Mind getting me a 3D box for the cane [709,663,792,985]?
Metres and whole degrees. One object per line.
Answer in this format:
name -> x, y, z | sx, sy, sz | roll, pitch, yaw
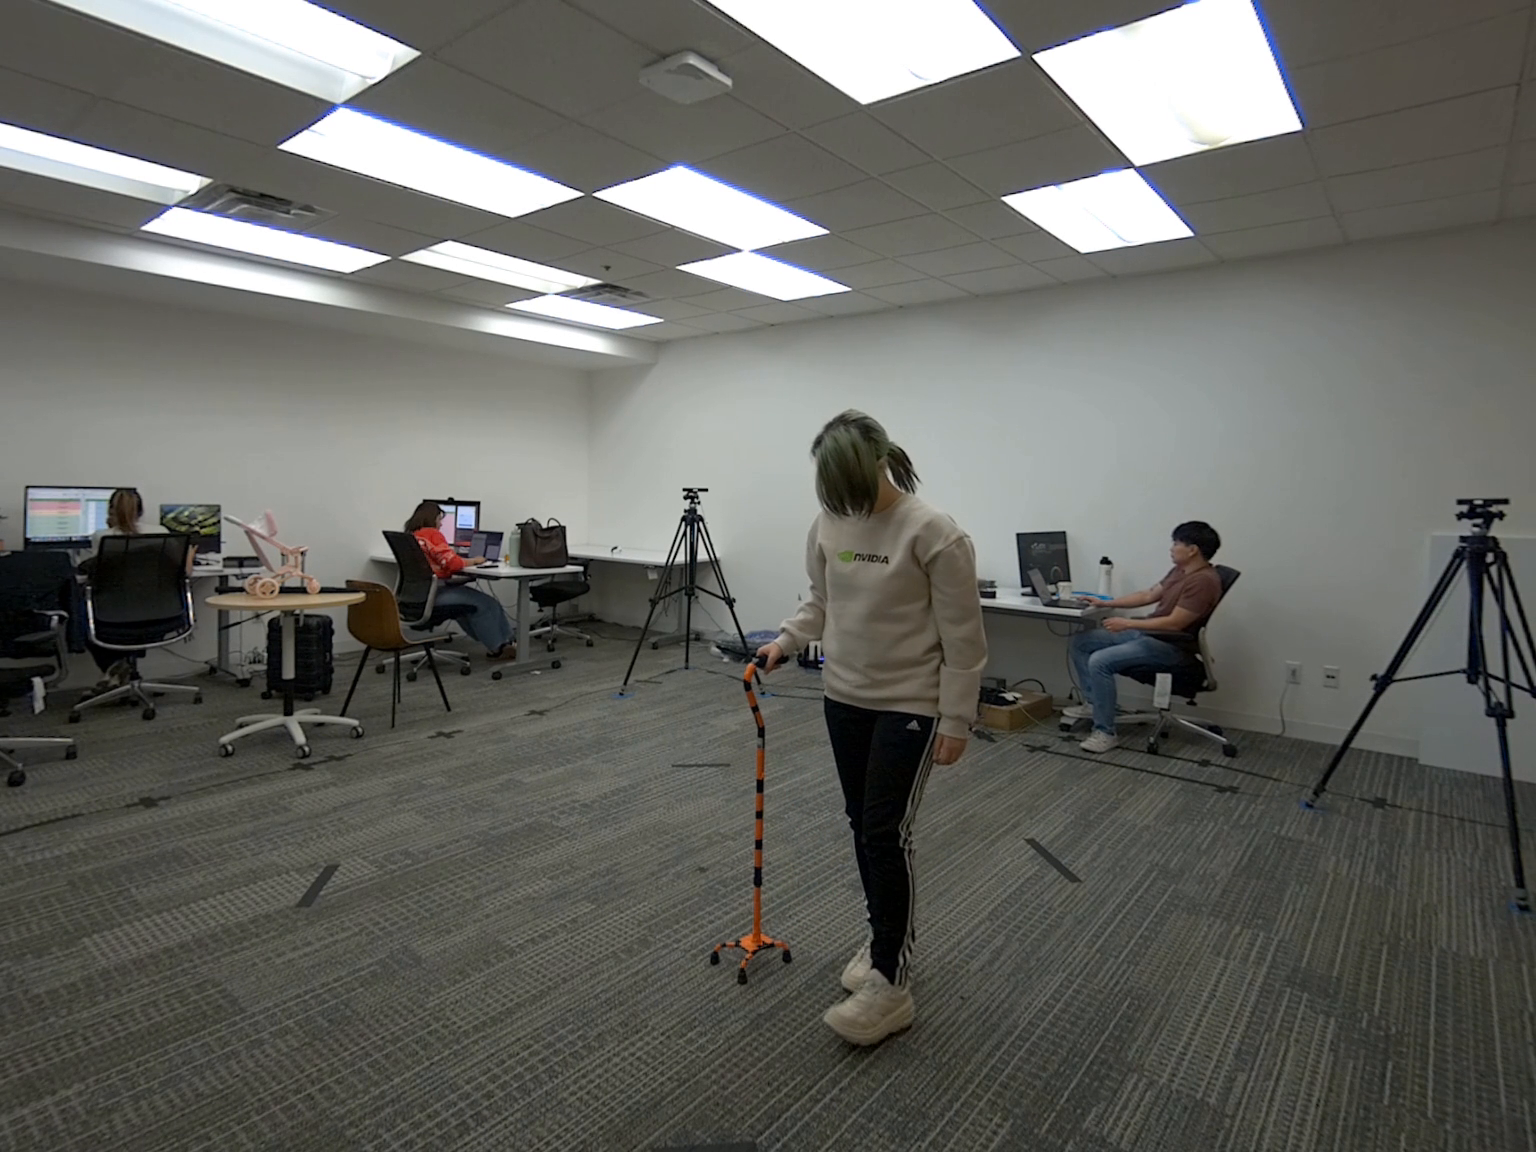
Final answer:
cane -> -0.052, 0.682, 2.477 | 0.200, 0.904, 0.157 | -3, 5, -40
